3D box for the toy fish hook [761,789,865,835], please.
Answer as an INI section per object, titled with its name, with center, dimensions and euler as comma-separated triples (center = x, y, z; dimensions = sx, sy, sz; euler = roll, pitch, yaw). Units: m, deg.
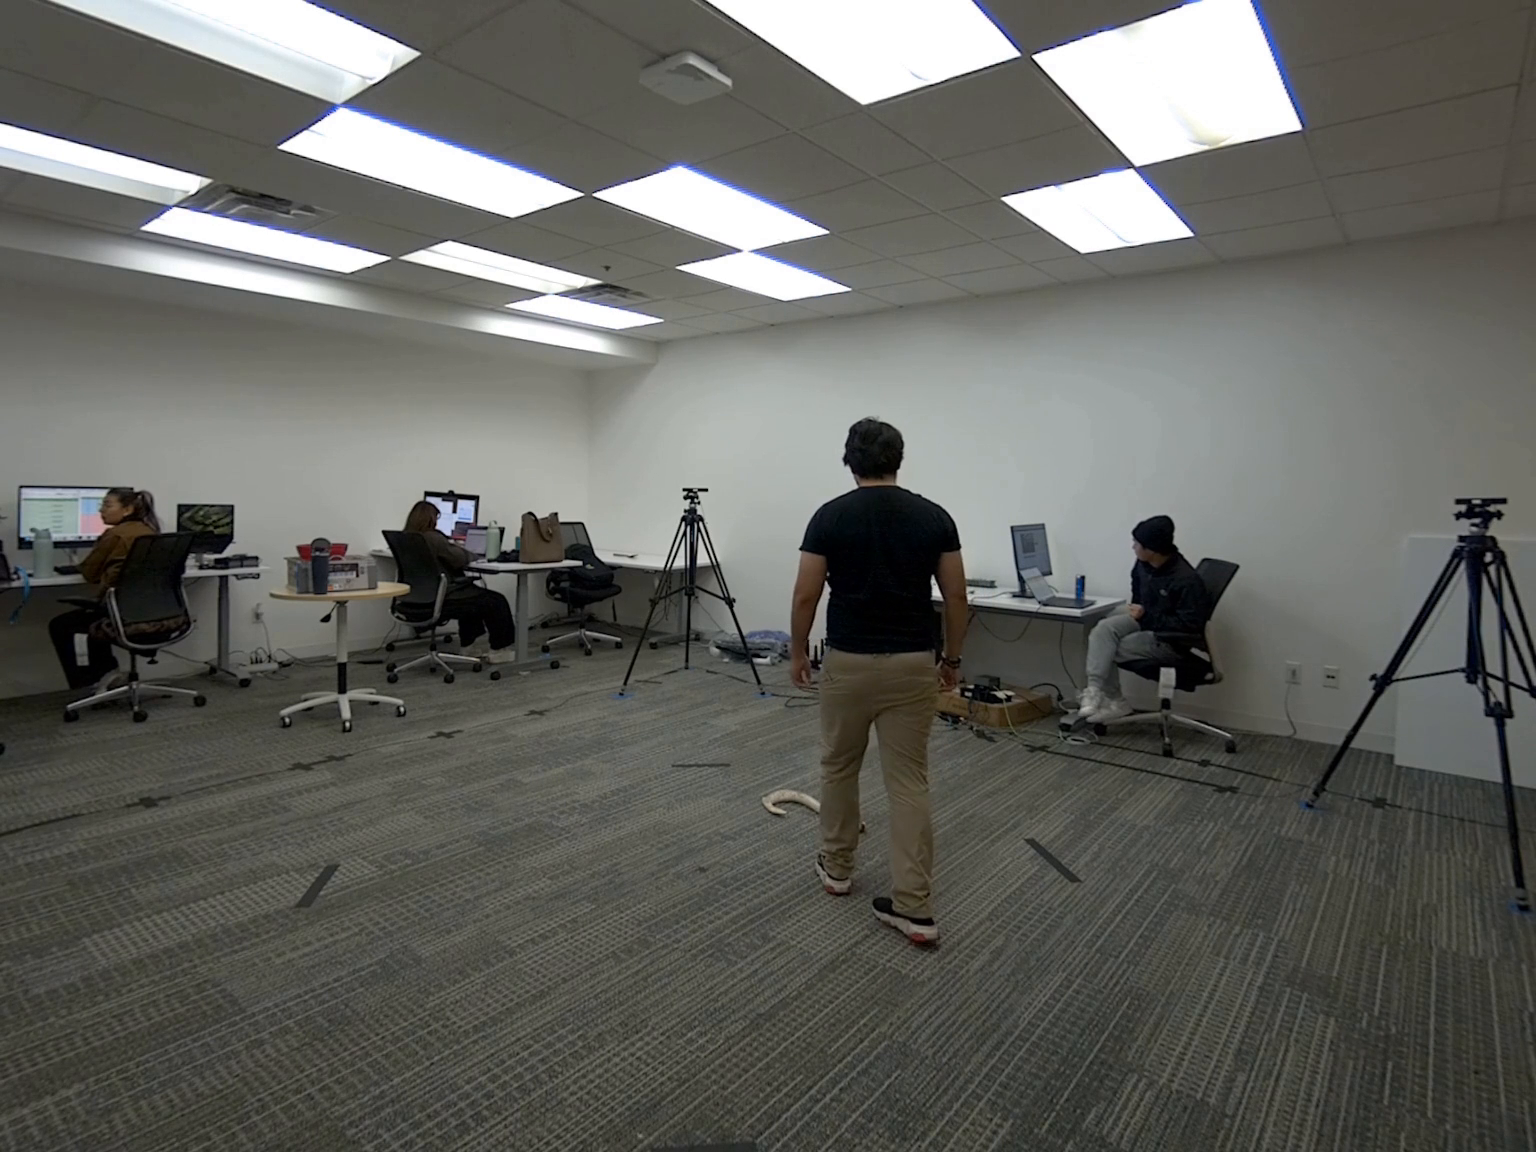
[toy fish hook]
center = 0.173, 1.011, 3.639
dimensions = 0.219, 0.048, 0.524
euler = -13, 13, -41
